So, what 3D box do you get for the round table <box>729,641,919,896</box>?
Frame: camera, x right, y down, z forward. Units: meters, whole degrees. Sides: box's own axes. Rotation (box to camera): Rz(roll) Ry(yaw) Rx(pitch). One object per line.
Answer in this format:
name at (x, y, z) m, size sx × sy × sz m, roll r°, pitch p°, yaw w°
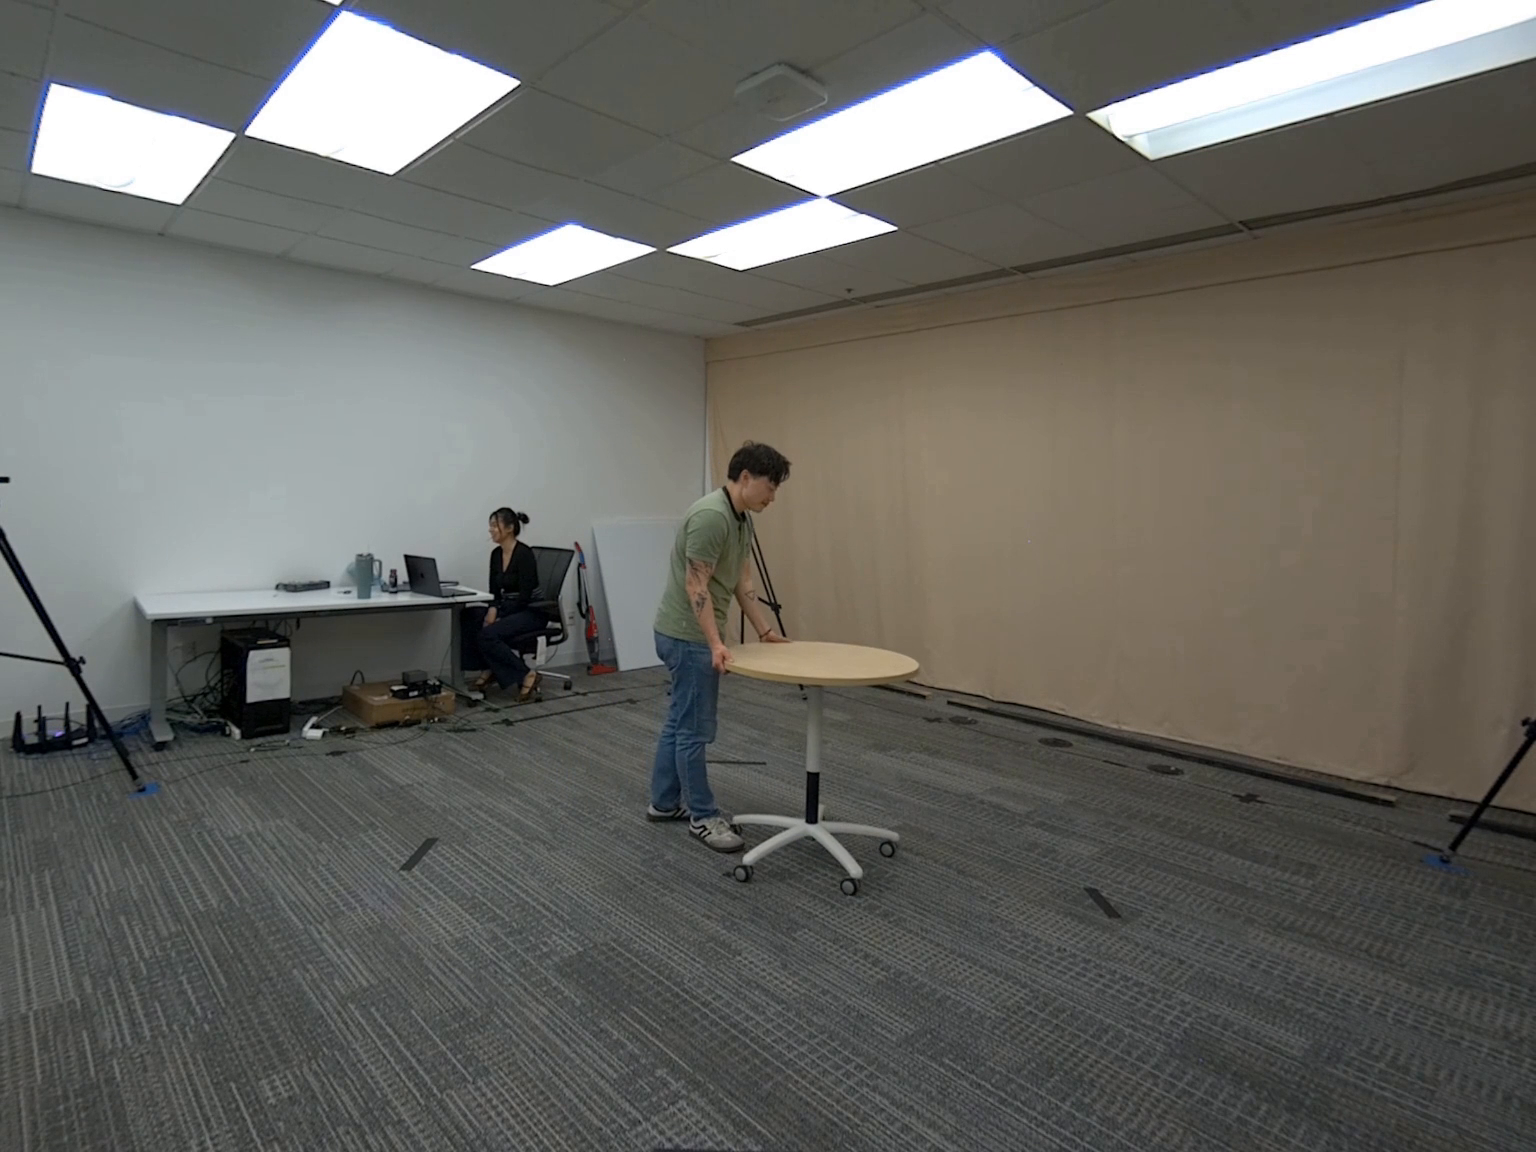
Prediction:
round table at (0.163, 0.708, 3.249) m, size 0.763 × 0.792 × 0.766 m, roll 2°, pitch 4°, yaw -1°
